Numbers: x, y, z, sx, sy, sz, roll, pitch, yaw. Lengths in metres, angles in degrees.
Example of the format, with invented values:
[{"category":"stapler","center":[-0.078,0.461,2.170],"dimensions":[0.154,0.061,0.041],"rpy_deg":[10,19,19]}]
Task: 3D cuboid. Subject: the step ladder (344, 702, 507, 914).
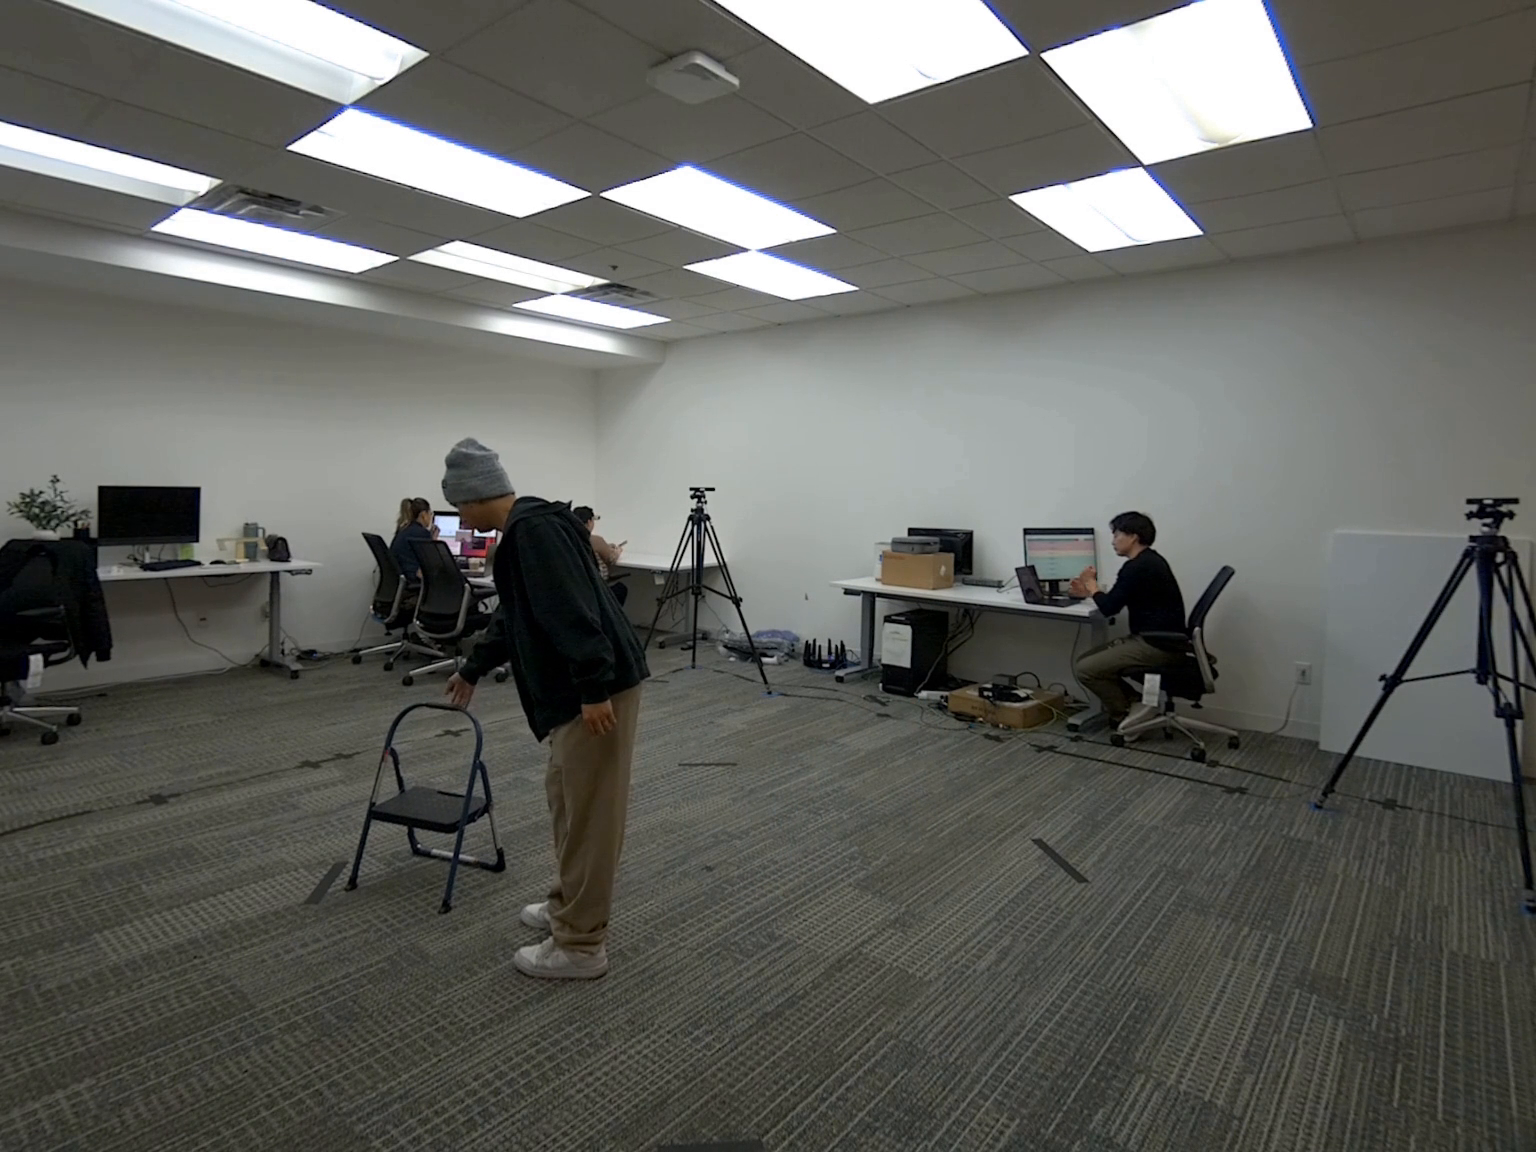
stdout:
[{"category":"step ladder","center":[-1.206,0.765,2.975],"dimensions":[0.440,0.604,0.343],"rpy_deg":[2,4,19]}]
